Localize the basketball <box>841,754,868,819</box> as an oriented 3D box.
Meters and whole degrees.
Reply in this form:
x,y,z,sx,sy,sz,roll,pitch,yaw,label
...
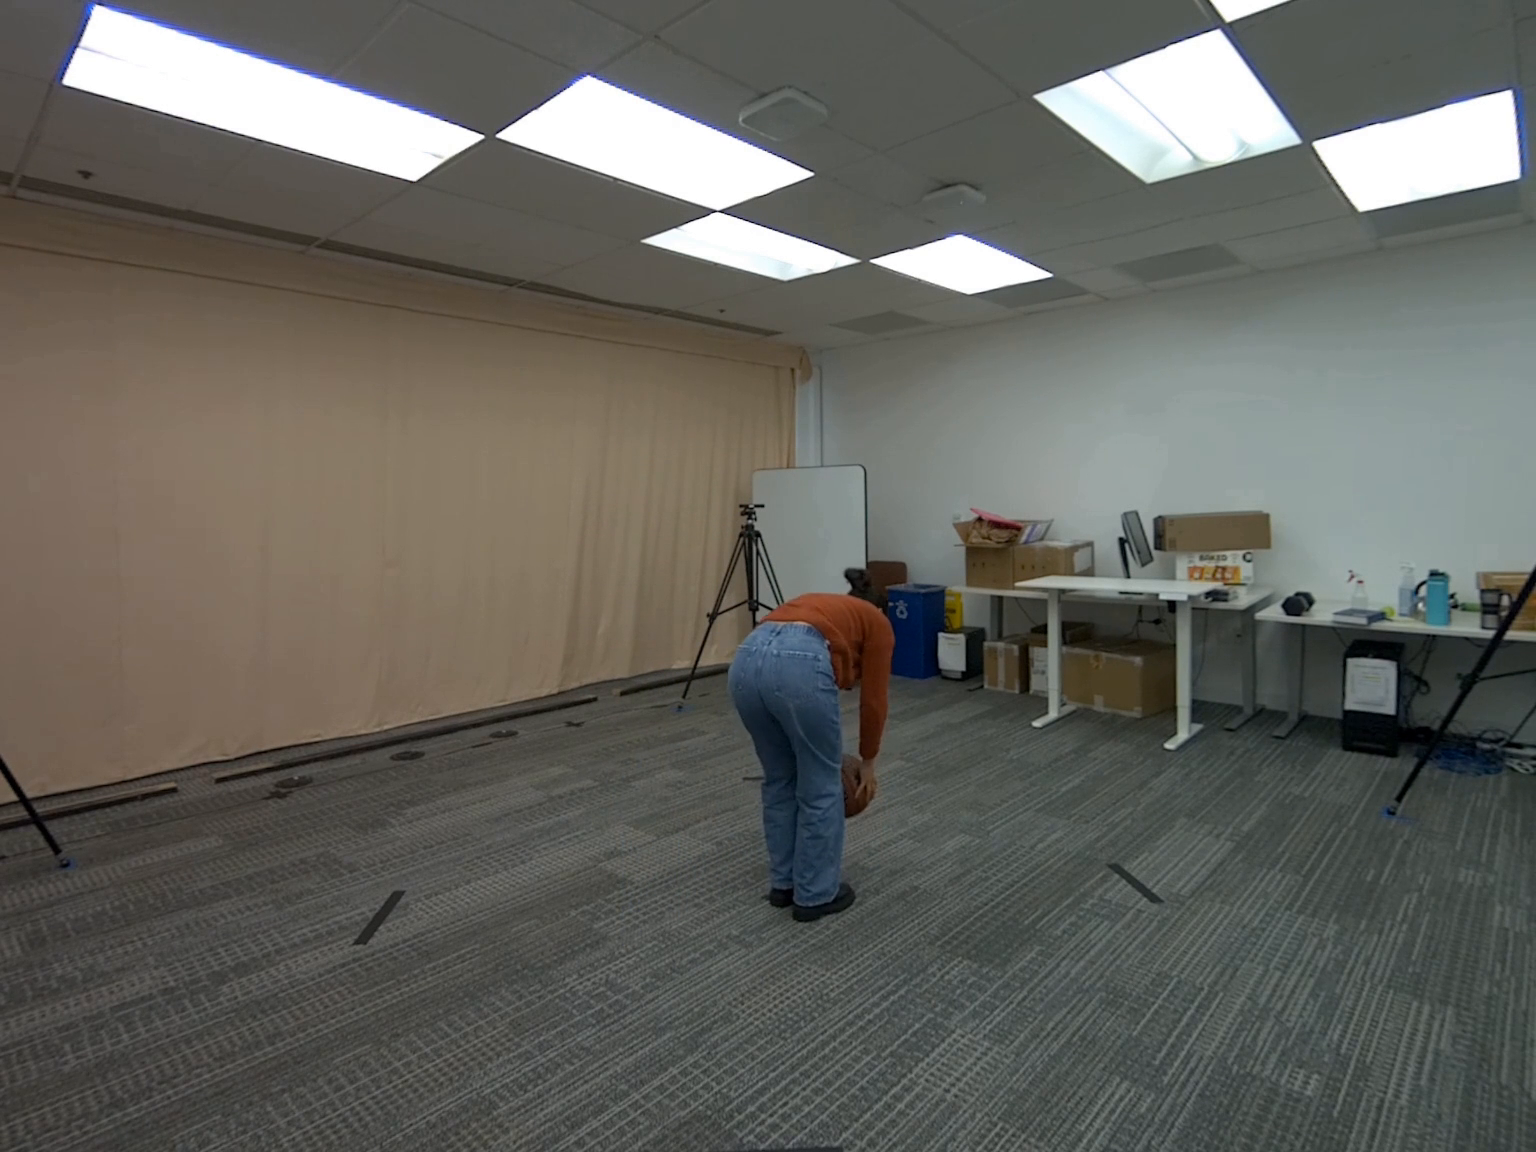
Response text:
x,y,z,sx,sy,sz,roll,pitch,yaw,label
0.292,0.779,3.174,0.236,0.235,0.237,-1,4,-2,basketball
